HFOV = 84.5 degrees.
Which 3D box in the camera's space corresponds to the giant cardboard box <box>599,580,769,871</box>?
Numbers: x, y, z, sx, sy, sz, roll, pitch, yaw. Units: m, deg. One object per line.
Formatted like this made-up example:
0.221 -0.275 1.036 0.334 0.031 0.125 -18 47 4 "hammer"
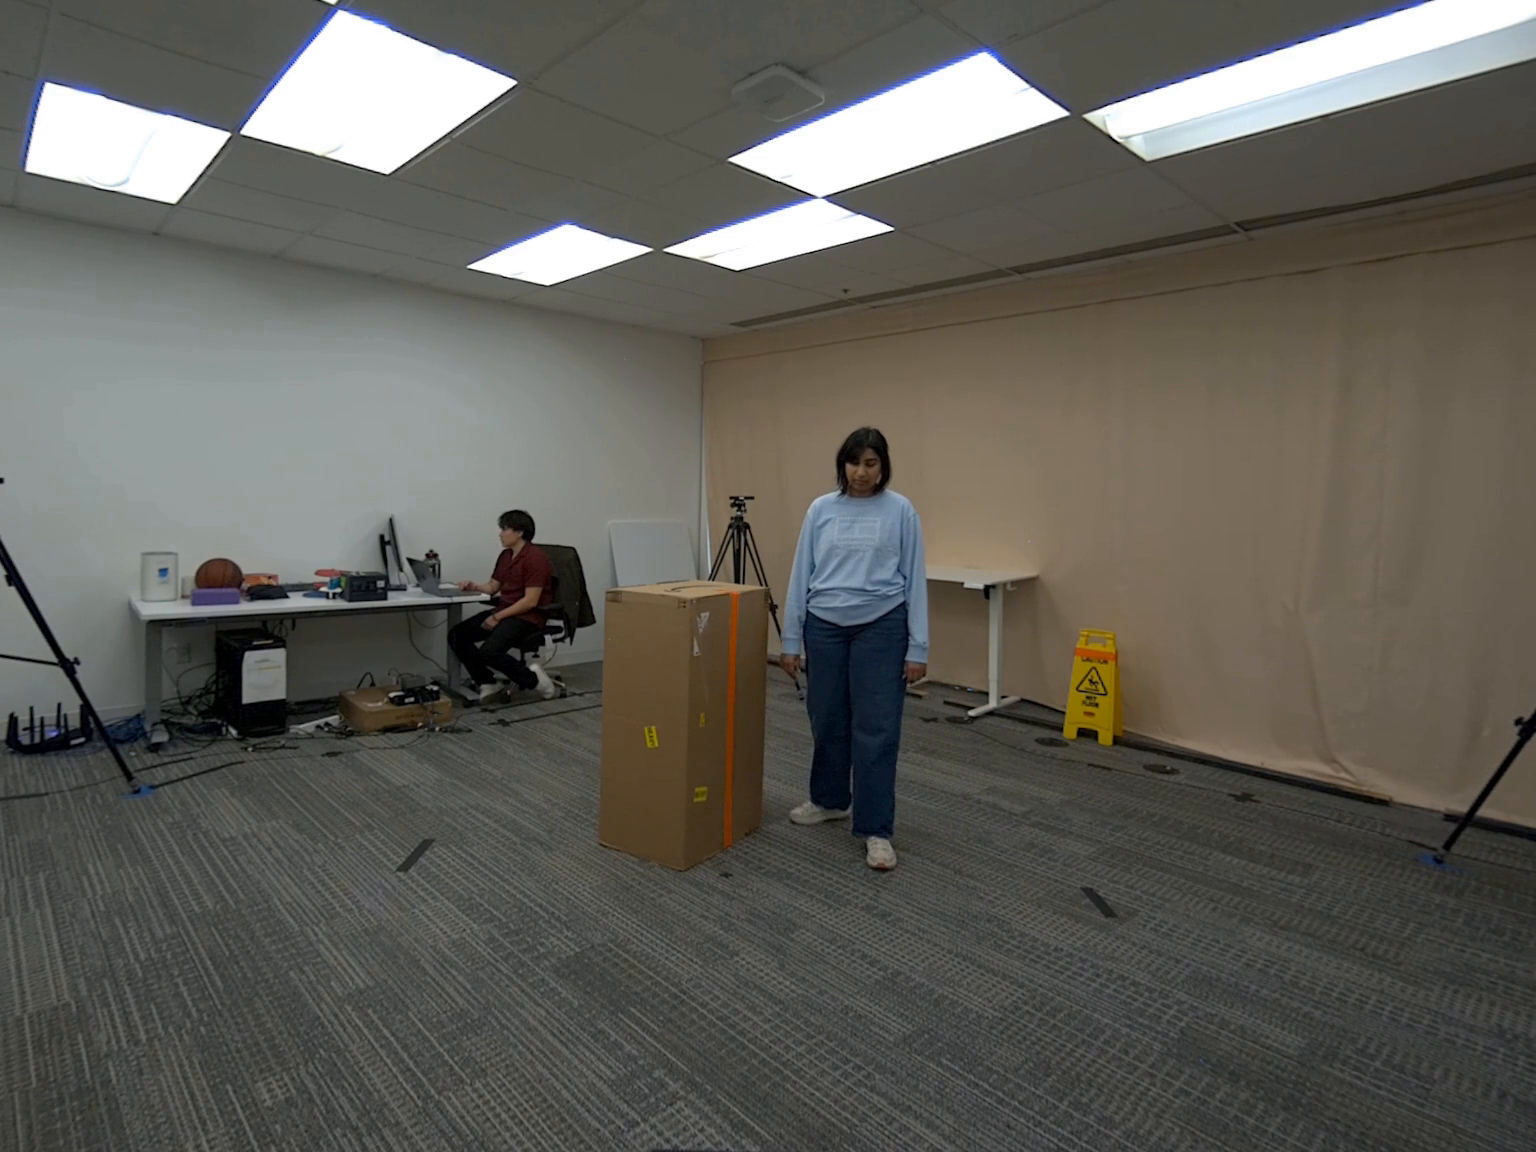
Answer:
-0.335 0.560 3.449 0.436 1.024 0.565 4 4 32 "giant cardboard box"
